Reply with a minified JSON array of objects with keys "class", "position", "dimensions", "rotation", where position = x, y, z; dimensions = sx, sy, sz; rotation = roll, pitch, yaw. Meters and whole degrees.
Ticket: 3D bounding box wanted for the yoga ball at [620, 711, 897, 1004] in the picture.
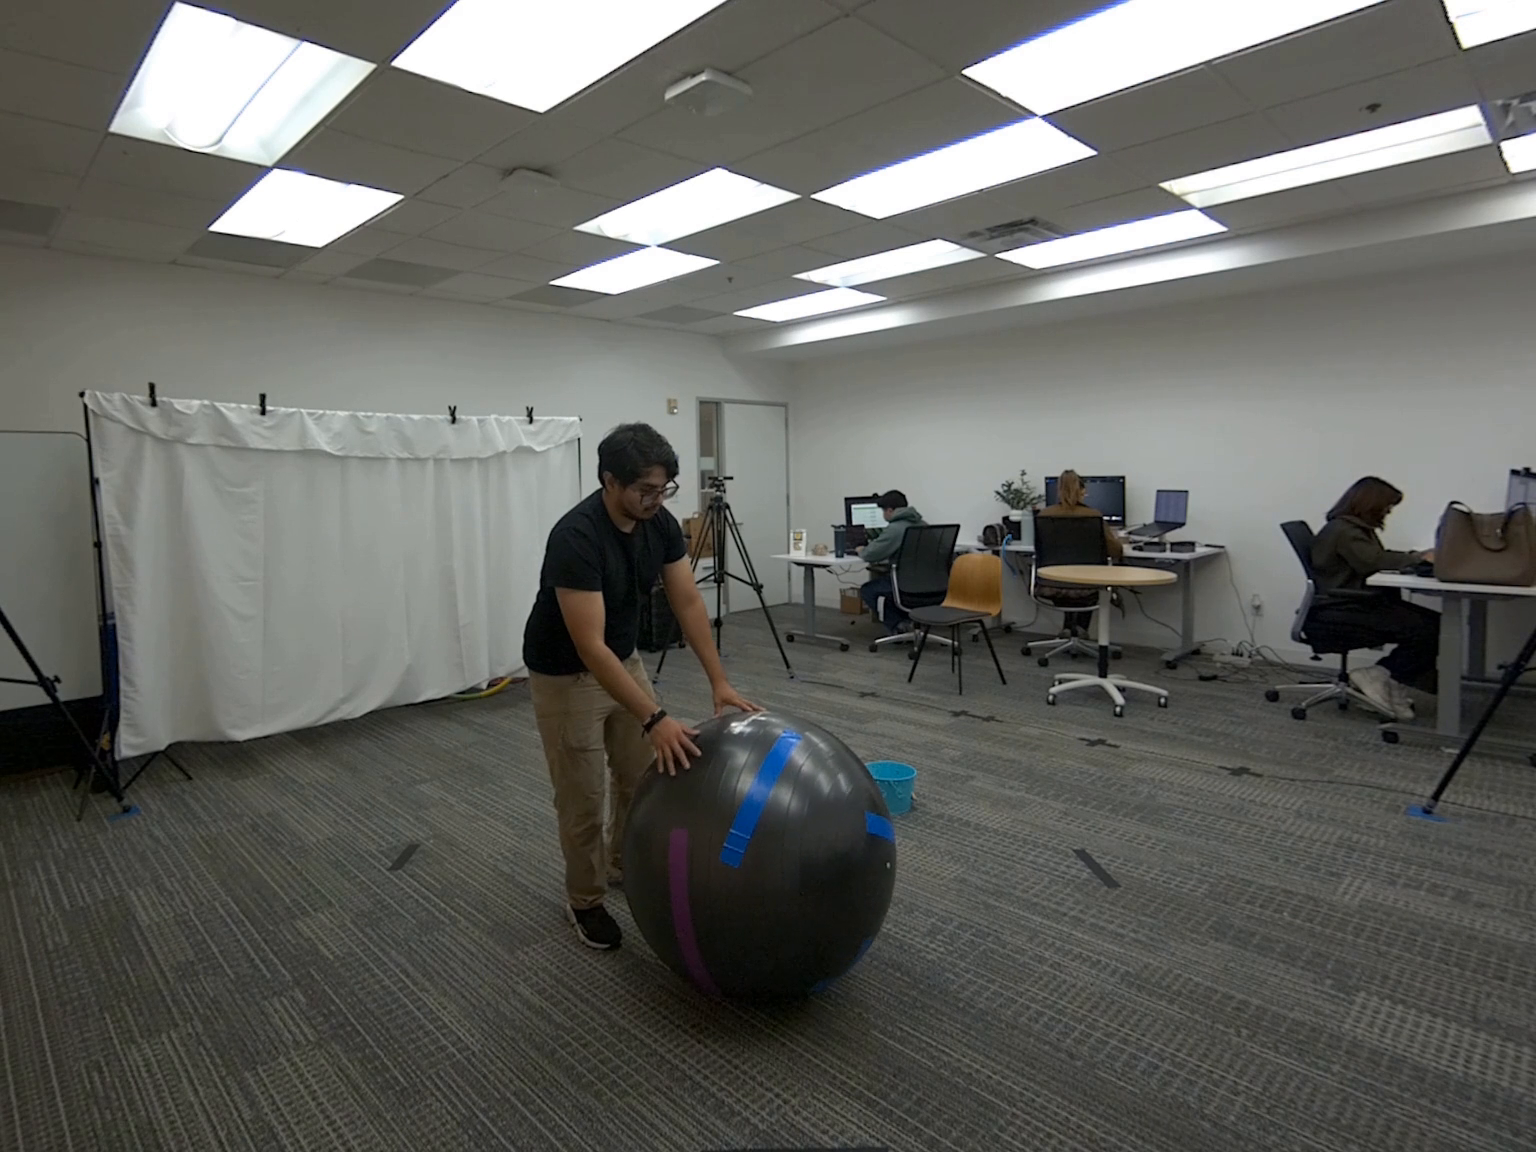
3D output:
[{"class":"yoga ball","position":[-0.025,0.765,2.363],"dimensions":[0.757,0.755,0.762],"rotation":[-1,5,-2]}]
